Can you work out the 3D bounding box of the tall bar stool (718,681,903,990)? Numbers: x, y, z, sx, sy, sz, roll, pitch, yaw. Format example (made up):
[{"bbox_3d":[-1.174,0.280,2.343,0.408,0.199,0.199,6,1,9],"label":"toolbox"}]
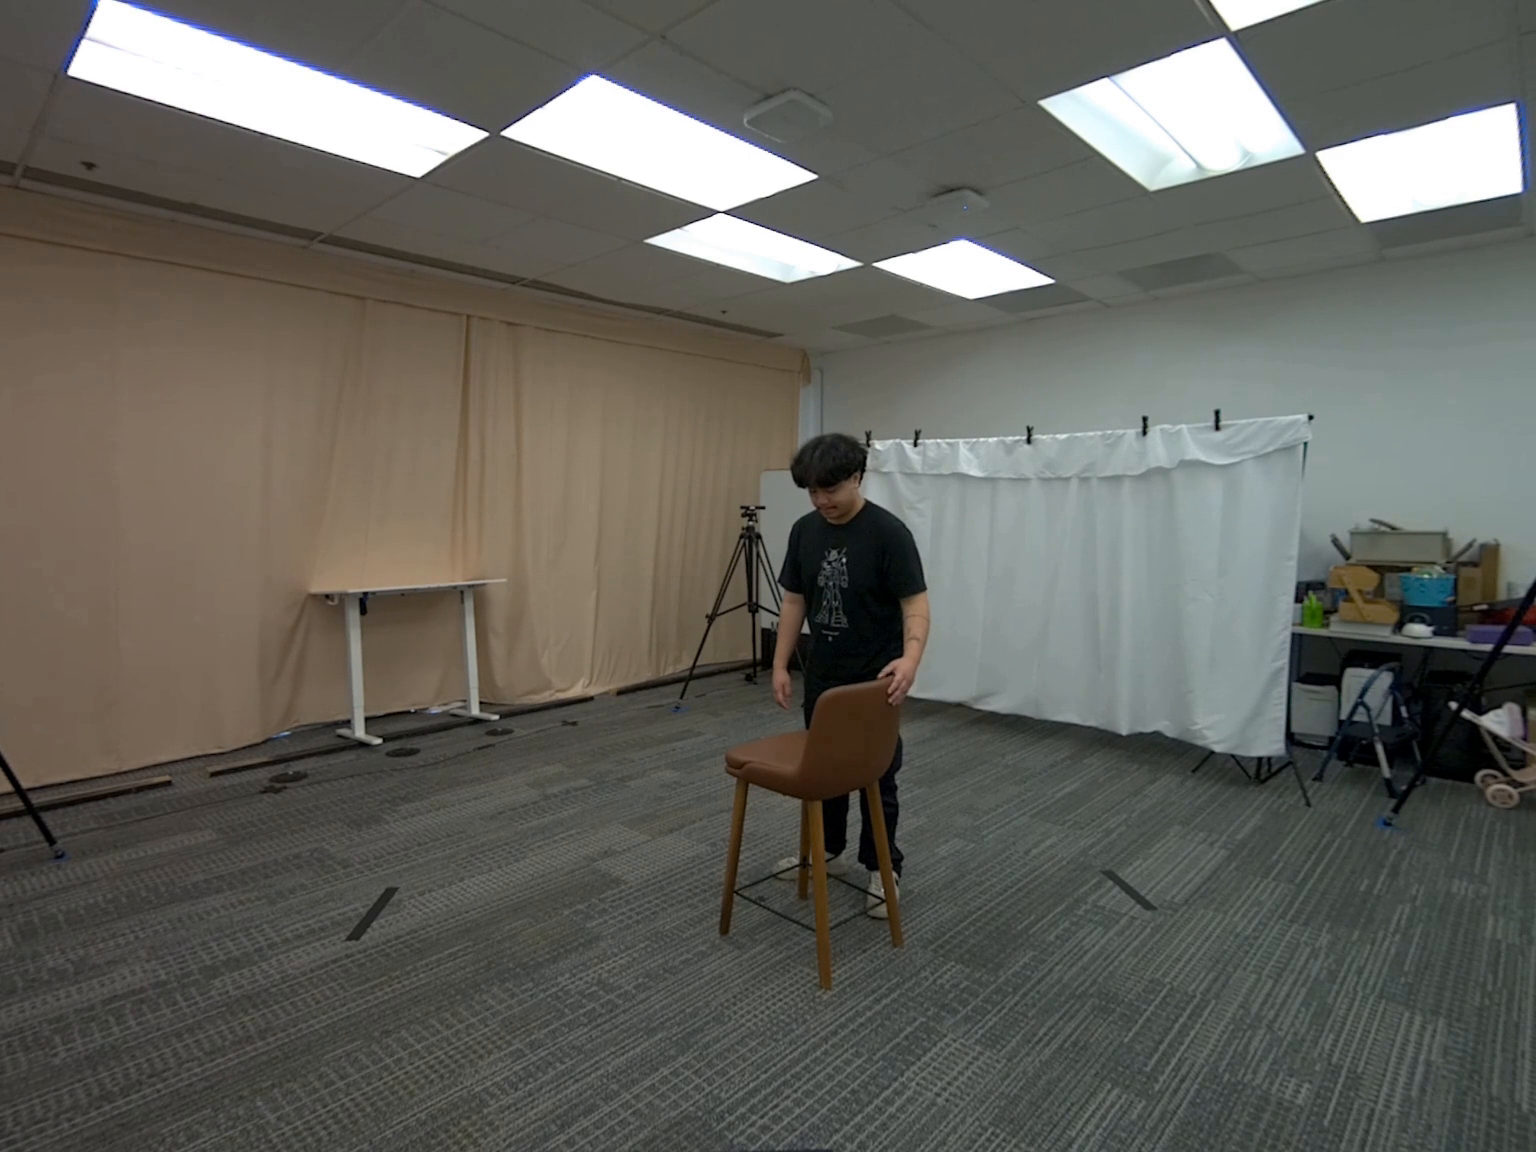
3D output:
[{"bbox_3d":[0.148,0.732,2.677,0.442,0.887,0.484,-3,7,-42],"label":"tall bar stool"}]
